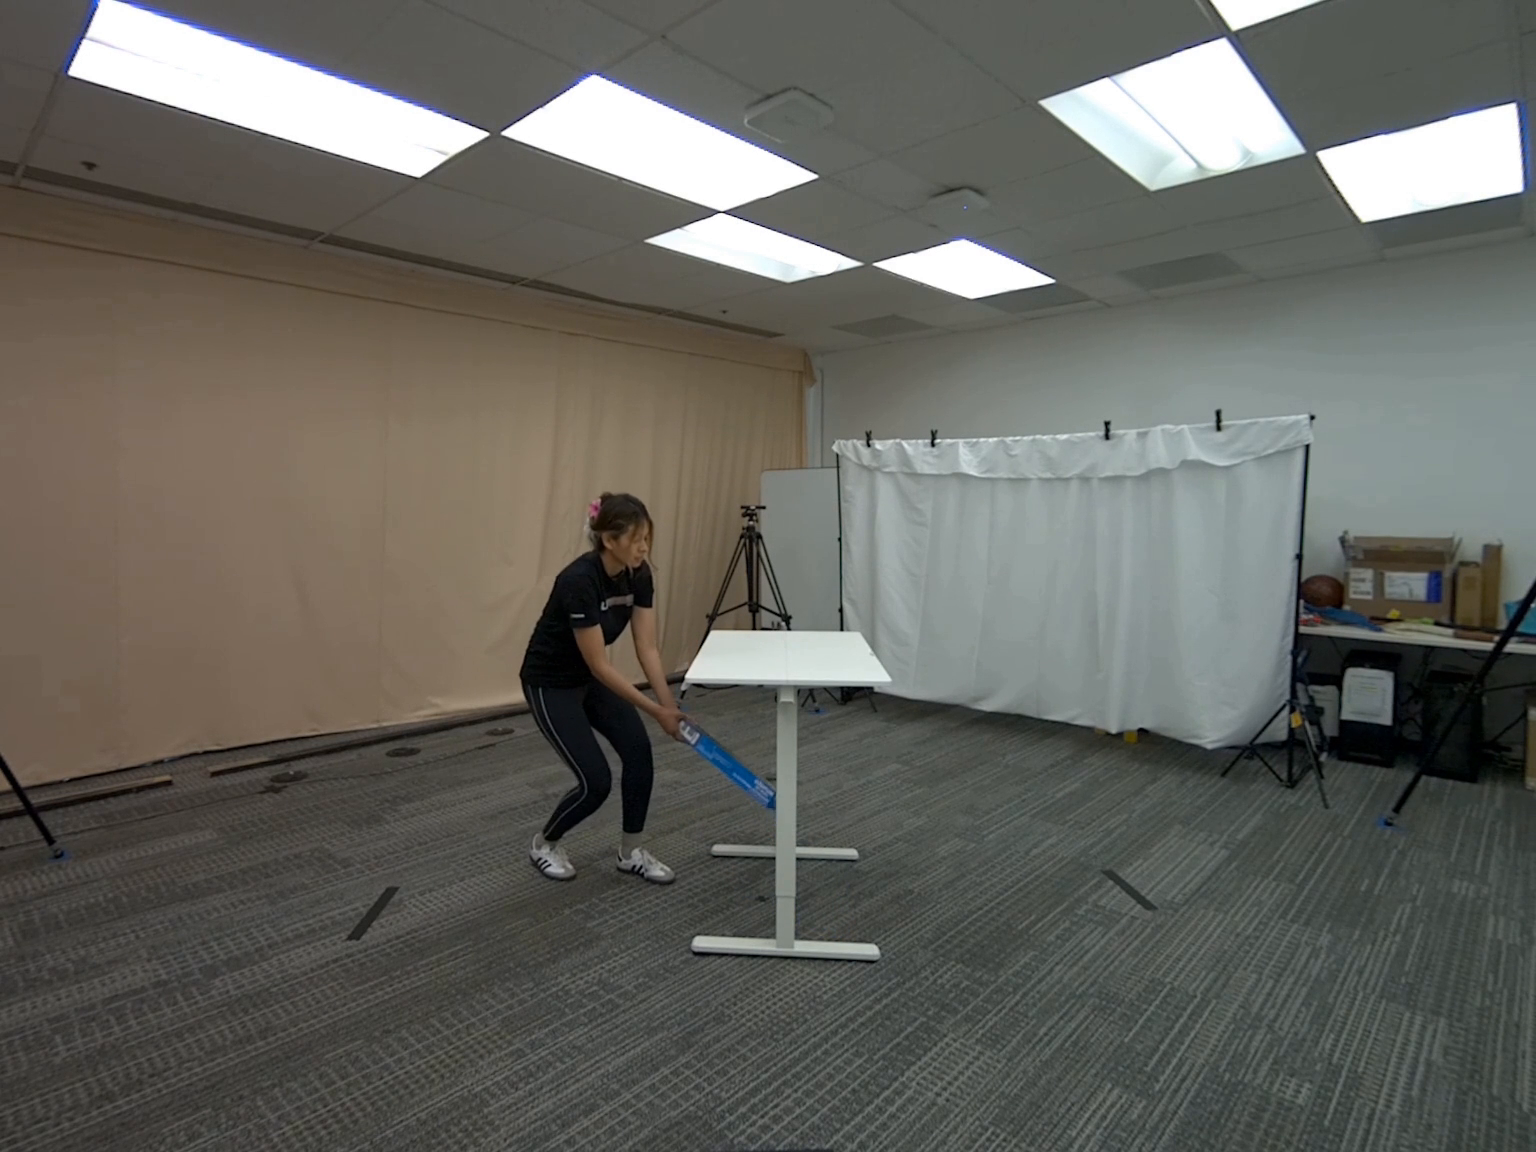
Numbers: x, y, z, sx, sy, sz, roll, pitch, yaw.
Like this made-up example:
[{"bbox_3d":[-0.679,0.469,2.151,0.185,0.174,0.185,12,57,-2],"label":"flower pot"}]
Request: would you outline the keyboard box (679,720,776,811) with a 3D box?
[{"bbox_3d":[-0.135,0.661,2.942,0.450,0.059,0.171,34,-8,26],"label":"keyboard box"}]
